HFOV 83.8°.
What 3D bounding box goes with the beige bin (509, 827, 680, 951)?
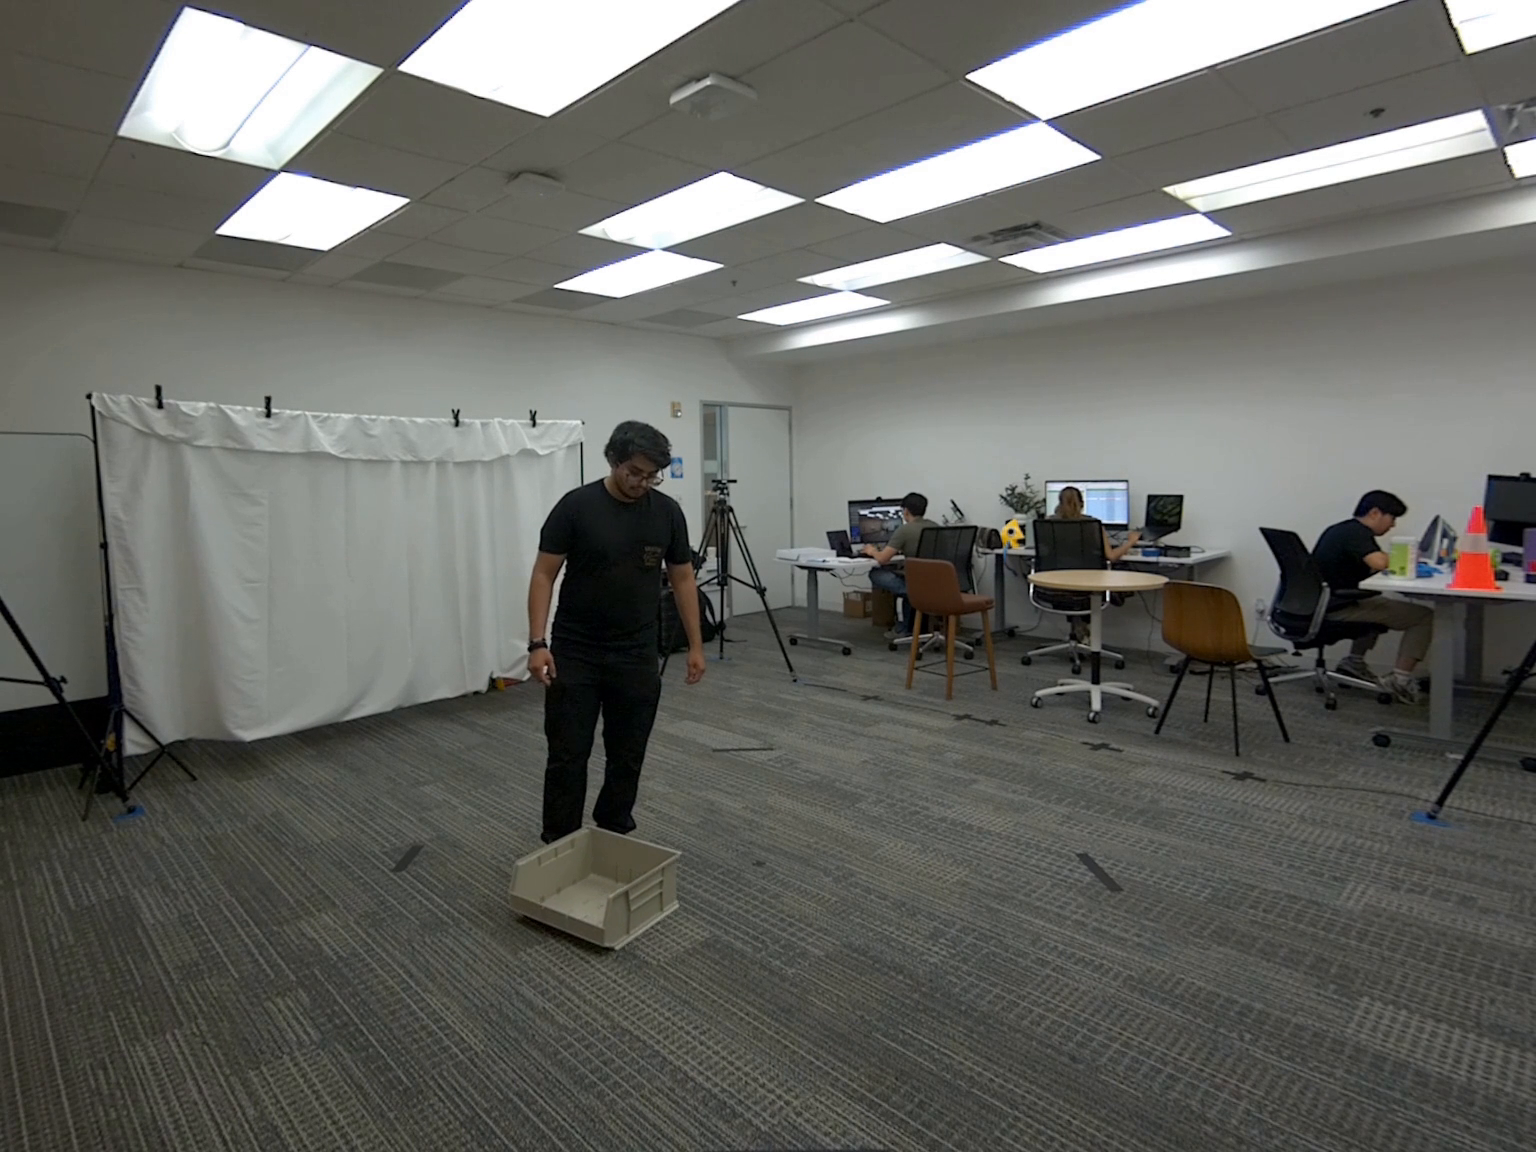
[{"bbox_3d":[-0.560,1.007,2.773,0.434,0.188,0.368,3,6,33],"label":"beige bin"}]
